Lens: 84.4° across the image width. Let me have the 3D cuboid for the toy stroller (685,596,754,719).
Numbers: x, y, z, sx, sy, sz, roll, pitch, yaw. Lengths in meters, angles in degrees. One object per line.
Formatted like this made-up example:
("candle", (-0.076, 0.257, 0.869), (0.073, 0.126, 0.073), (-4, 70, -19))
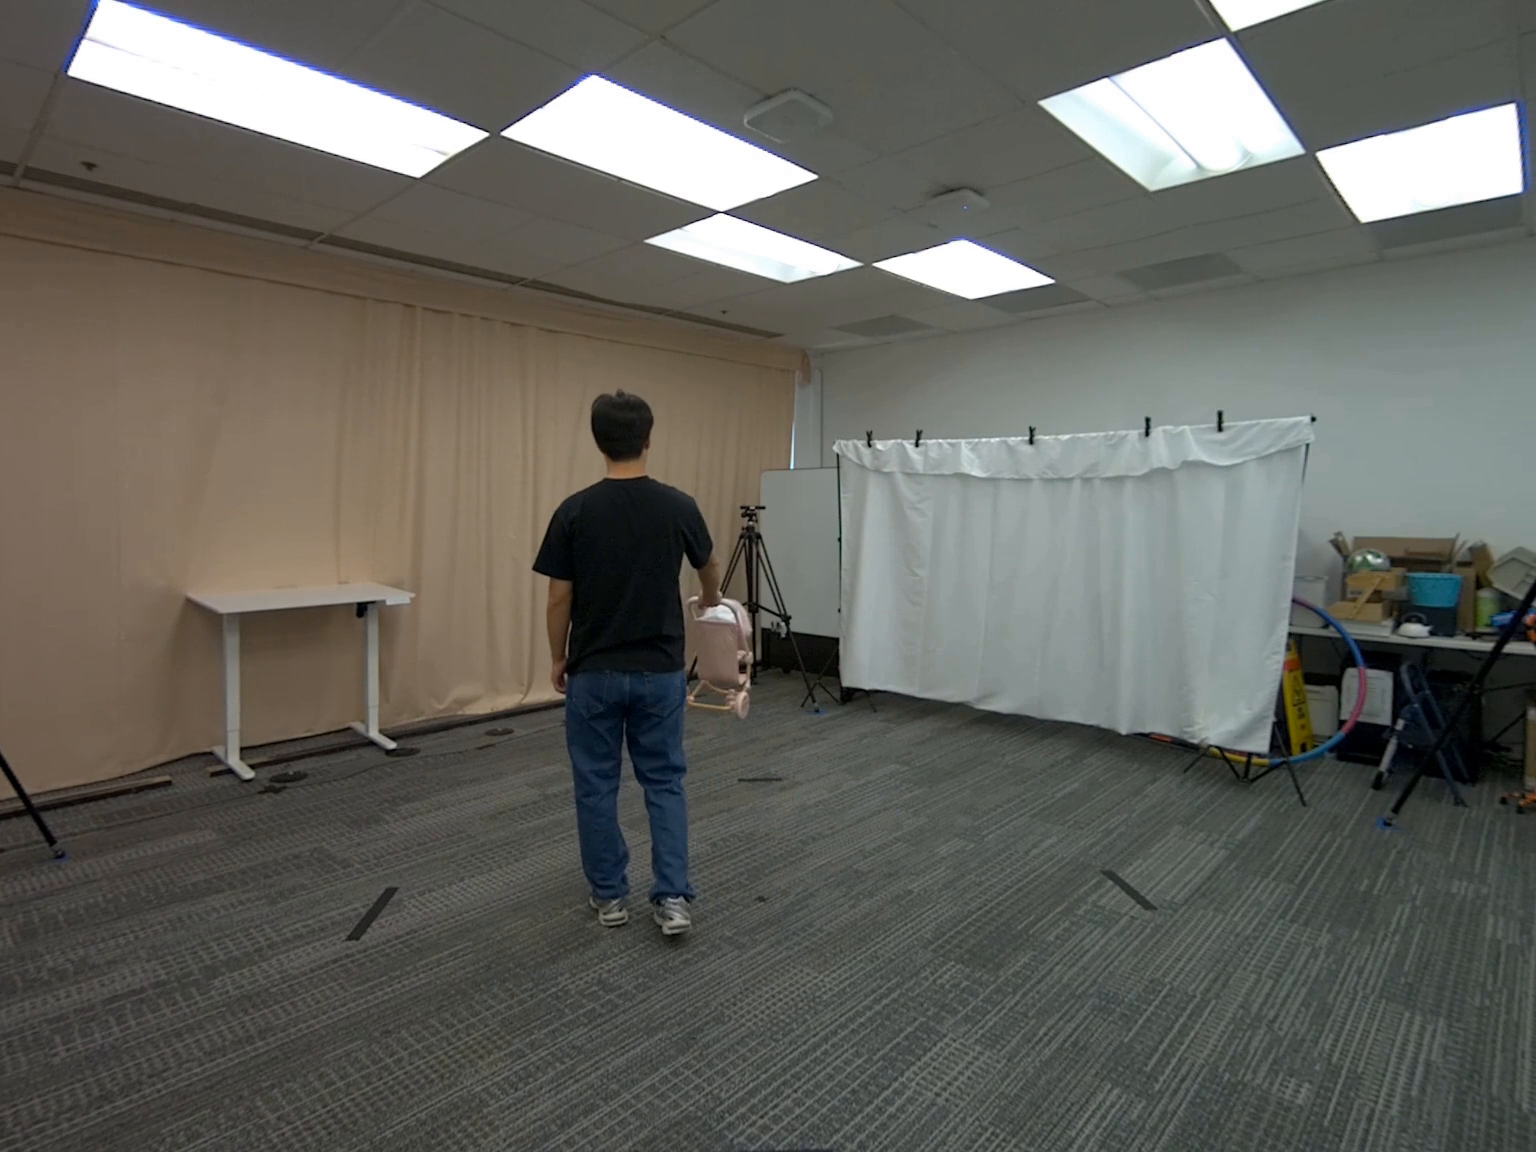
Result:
("toy stroller", (-0.182, 0.334, 3.423), (0.288, 0.533, 0.335), (3, 7, 22))
